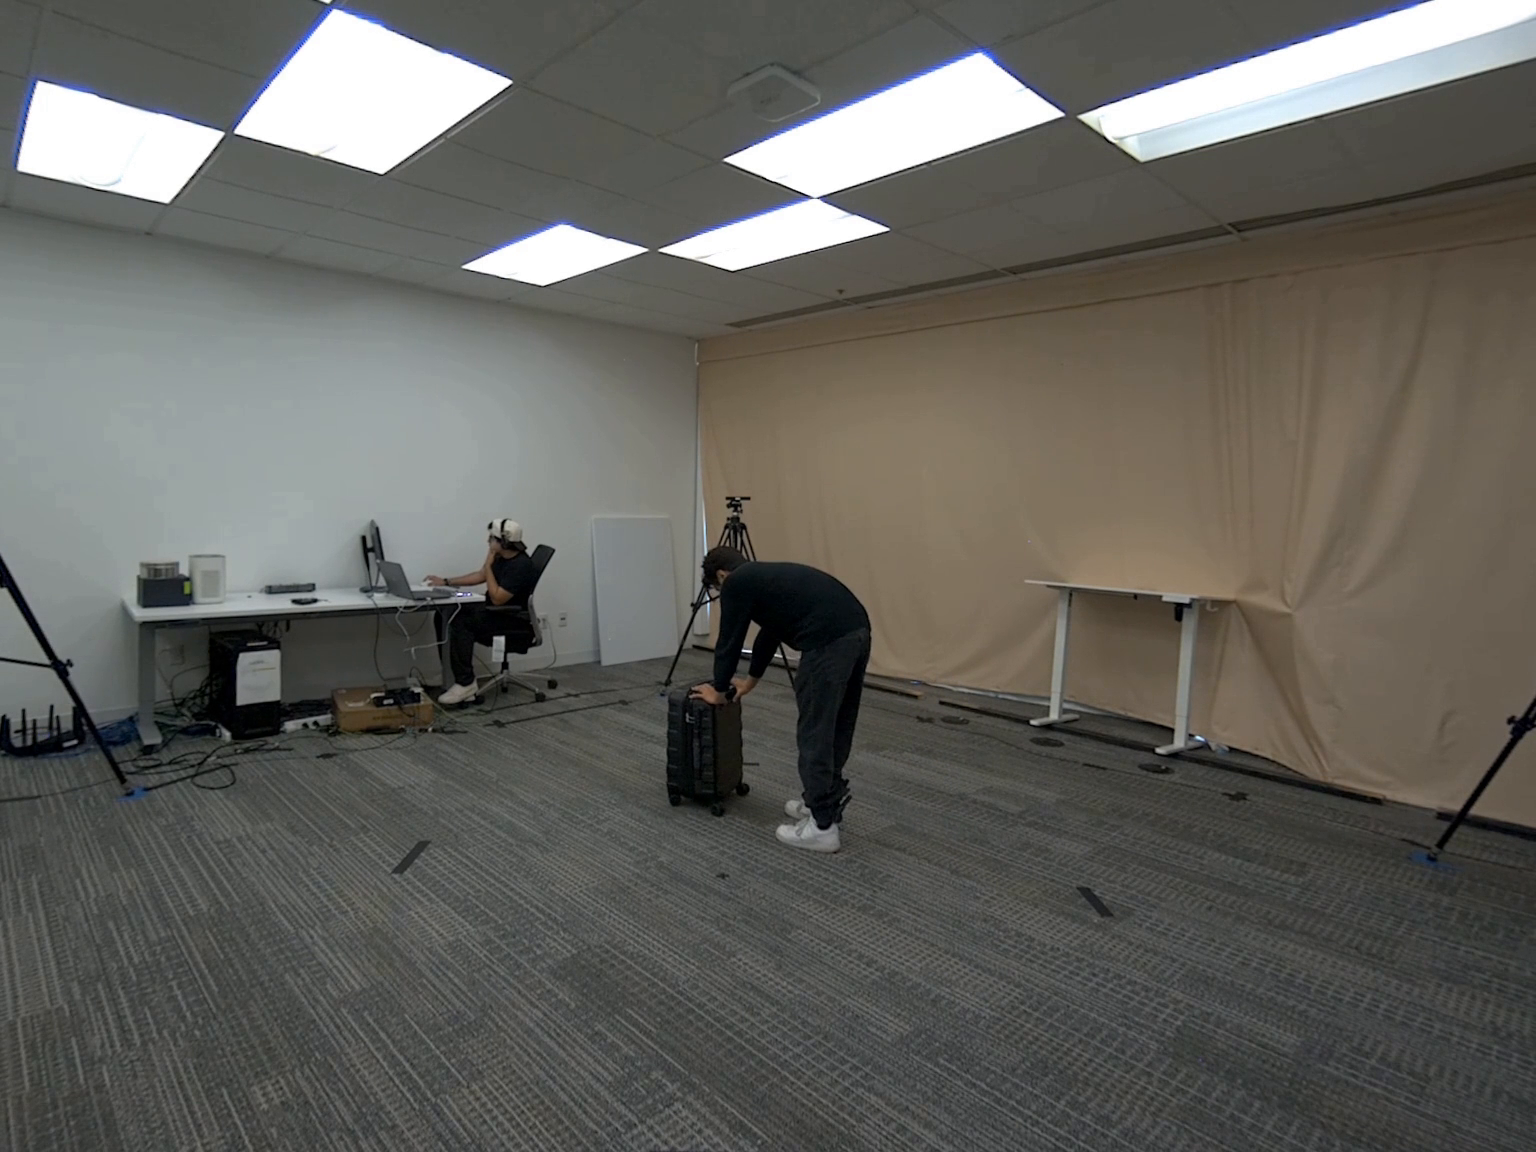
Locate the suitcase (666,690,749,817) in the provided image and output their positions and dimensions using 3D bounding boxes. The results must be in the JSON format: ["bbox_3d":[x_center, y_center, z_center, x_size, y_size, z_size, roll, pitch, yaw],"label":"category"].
[{"bbox_3d":[-0.296,0.759,3.893,0.253,0.548,0.369,3,4,24],"label":"suitcase"}]
